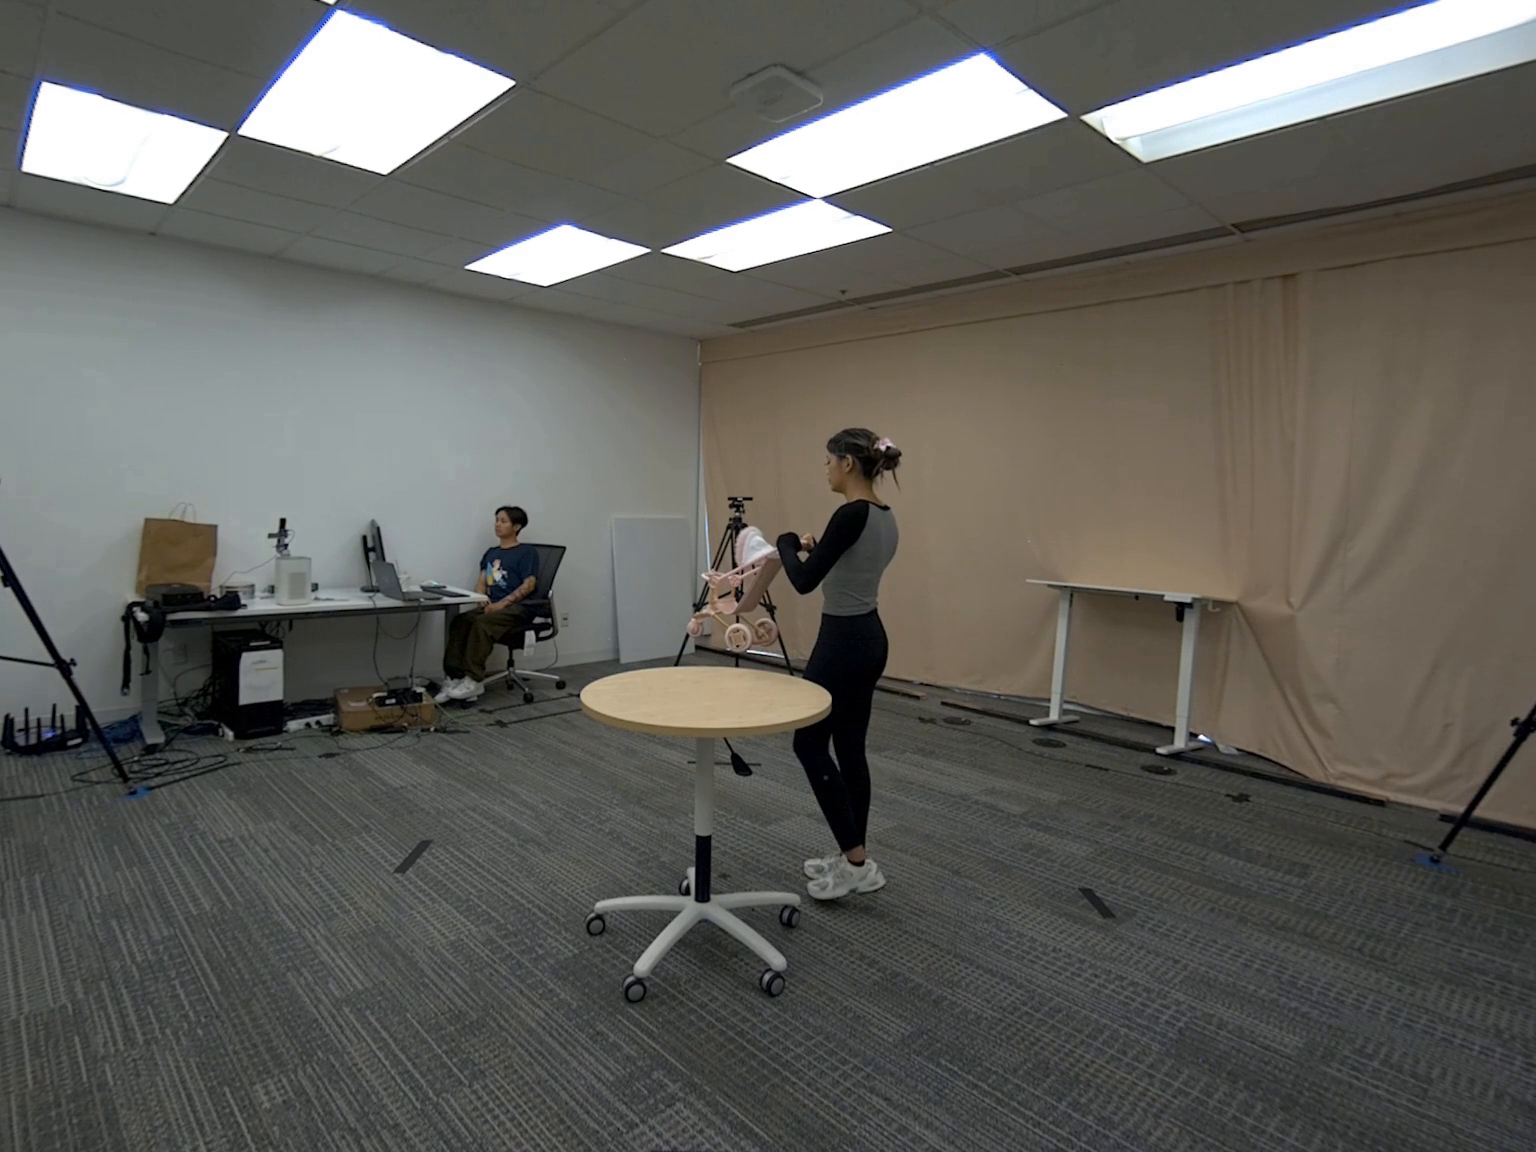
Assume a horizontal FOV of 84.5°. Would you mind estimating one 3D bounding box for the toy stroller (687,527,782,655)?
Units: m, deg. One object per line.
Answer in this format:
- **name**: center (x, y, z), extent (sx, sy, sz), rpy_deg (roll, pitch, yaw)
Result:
- **toy stroller**: center (-0.105, 0.050, 3.250), extent (0.350, 0.532, 0.275), rpy_deg (23, 10, 27)
